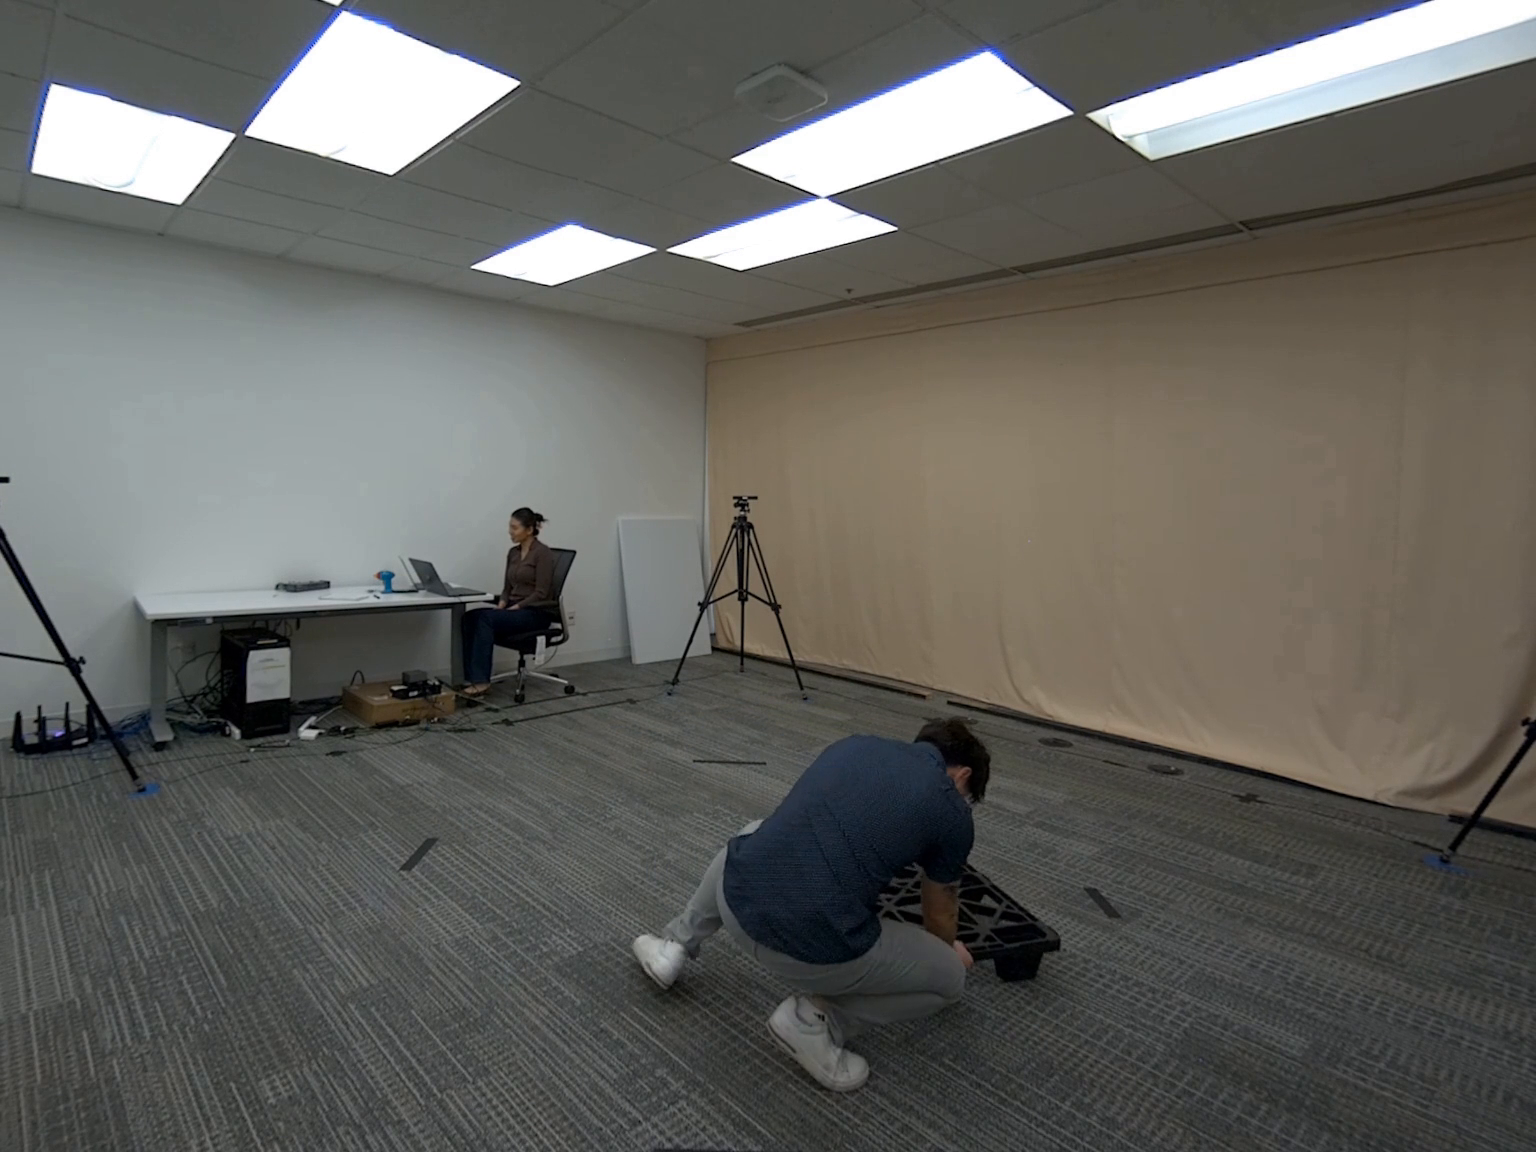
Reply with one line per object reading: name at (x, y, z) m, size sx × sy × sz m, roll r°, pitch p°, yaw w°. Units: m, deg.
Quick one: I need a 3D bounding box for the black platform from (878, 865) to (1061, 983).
black platform at (0.455, 1.085, 2.758) m, size 0.597 × 0.143 × 0.818 m, roll 1°, pitch 6°, yaw -17°
